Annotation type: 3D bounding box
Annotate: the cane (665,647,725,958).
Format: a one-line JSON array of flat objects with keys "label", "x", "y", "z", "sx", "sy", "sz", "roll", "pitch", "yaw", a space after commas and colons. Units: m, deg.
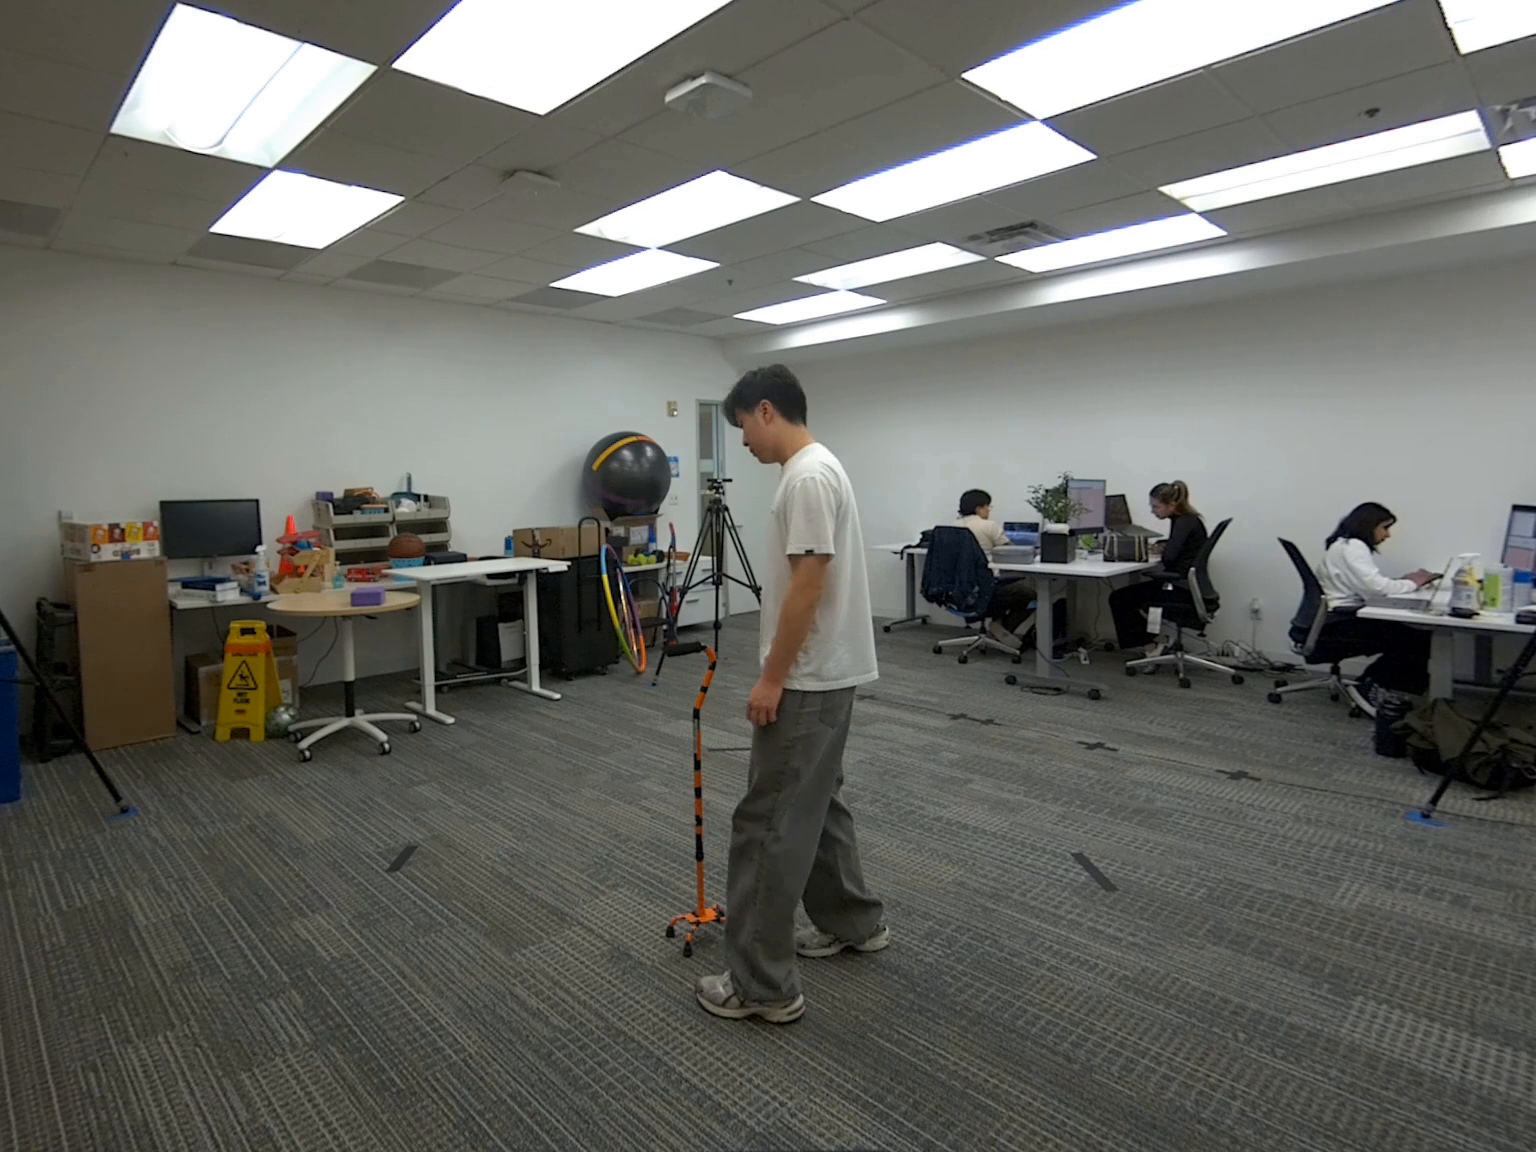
[{"label": "cane", "x": -0.203, "y": 0.654, "z": 2.590, "sx": 0.201, "sy": 0.905, "sz": 0.155, "roll": -3, "pitch": 3, "yaw": -31}]
